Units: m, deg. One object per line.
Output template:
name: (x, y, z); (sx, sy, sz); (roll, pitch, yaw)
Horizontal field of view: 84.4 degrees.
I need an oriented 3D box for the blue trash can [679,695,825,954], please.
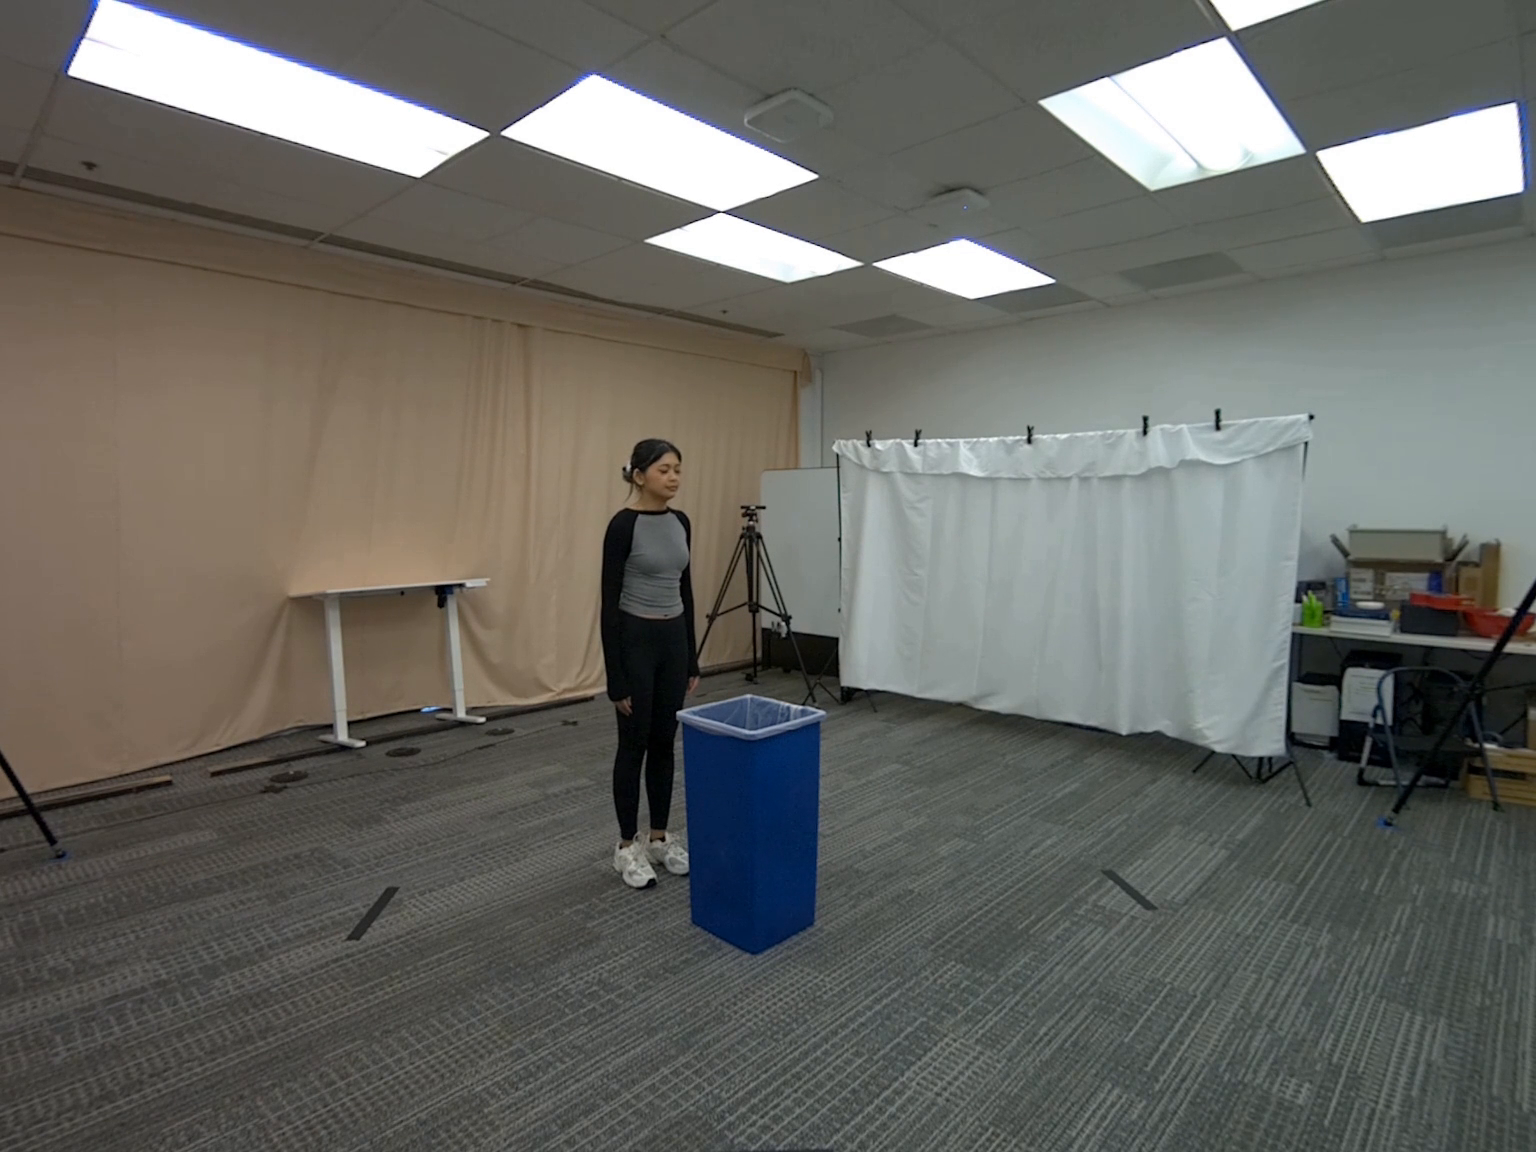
blue trash can: (-0.051, 0.803, 2.785); (0.391, 0.712, 0.362); (3, 4, 45)
